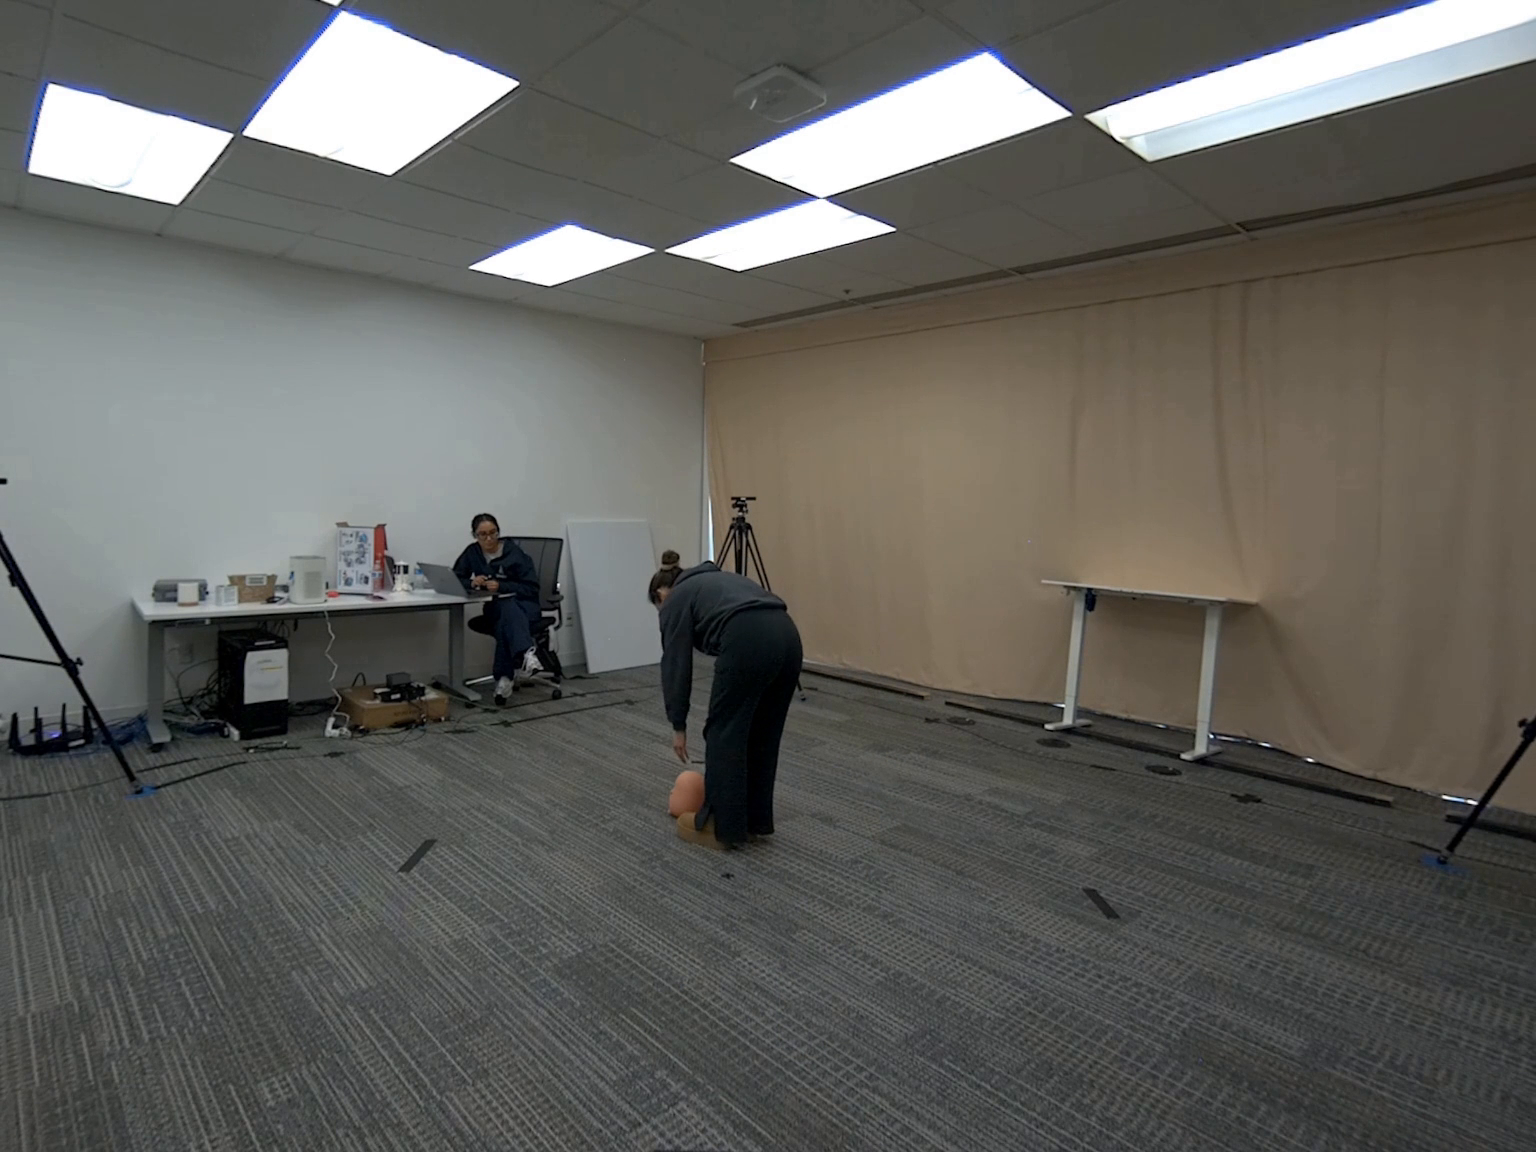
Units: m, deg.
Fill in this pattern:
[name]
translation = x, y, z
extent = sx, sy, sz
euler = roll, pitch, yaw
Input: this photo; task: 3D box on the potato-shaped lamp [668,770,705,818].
[potato-shaped lamp]
translation = -0.359, 0.944, 3.692
extent = 0.176, 0.197, 0.161
euler = 7, 8, 35
